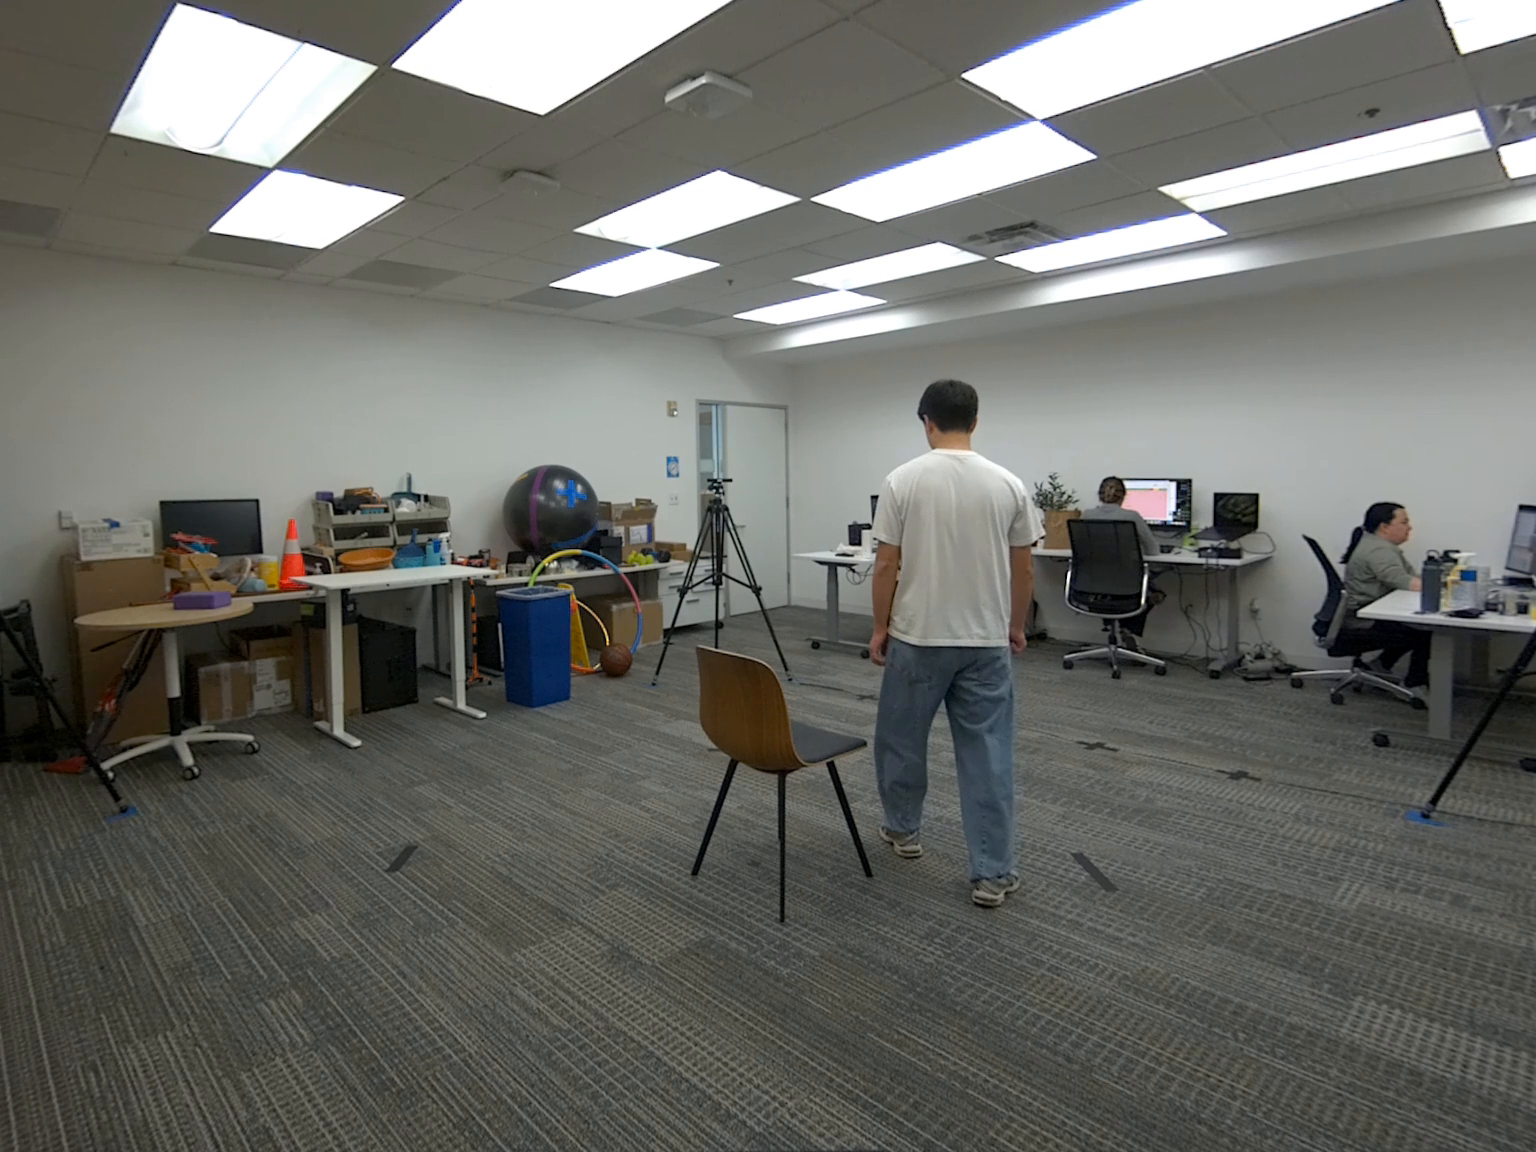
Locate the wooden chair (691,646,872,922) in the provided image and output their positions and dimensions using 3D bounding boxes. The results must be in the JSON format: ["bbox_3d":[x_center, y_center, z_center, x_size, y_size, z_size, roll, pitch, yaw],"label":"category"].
[{"bbox_3d":[0.054,0.630,2.967,0.511,0.871,0.493,-10,10,-43],"label":"wooden chair"}]
